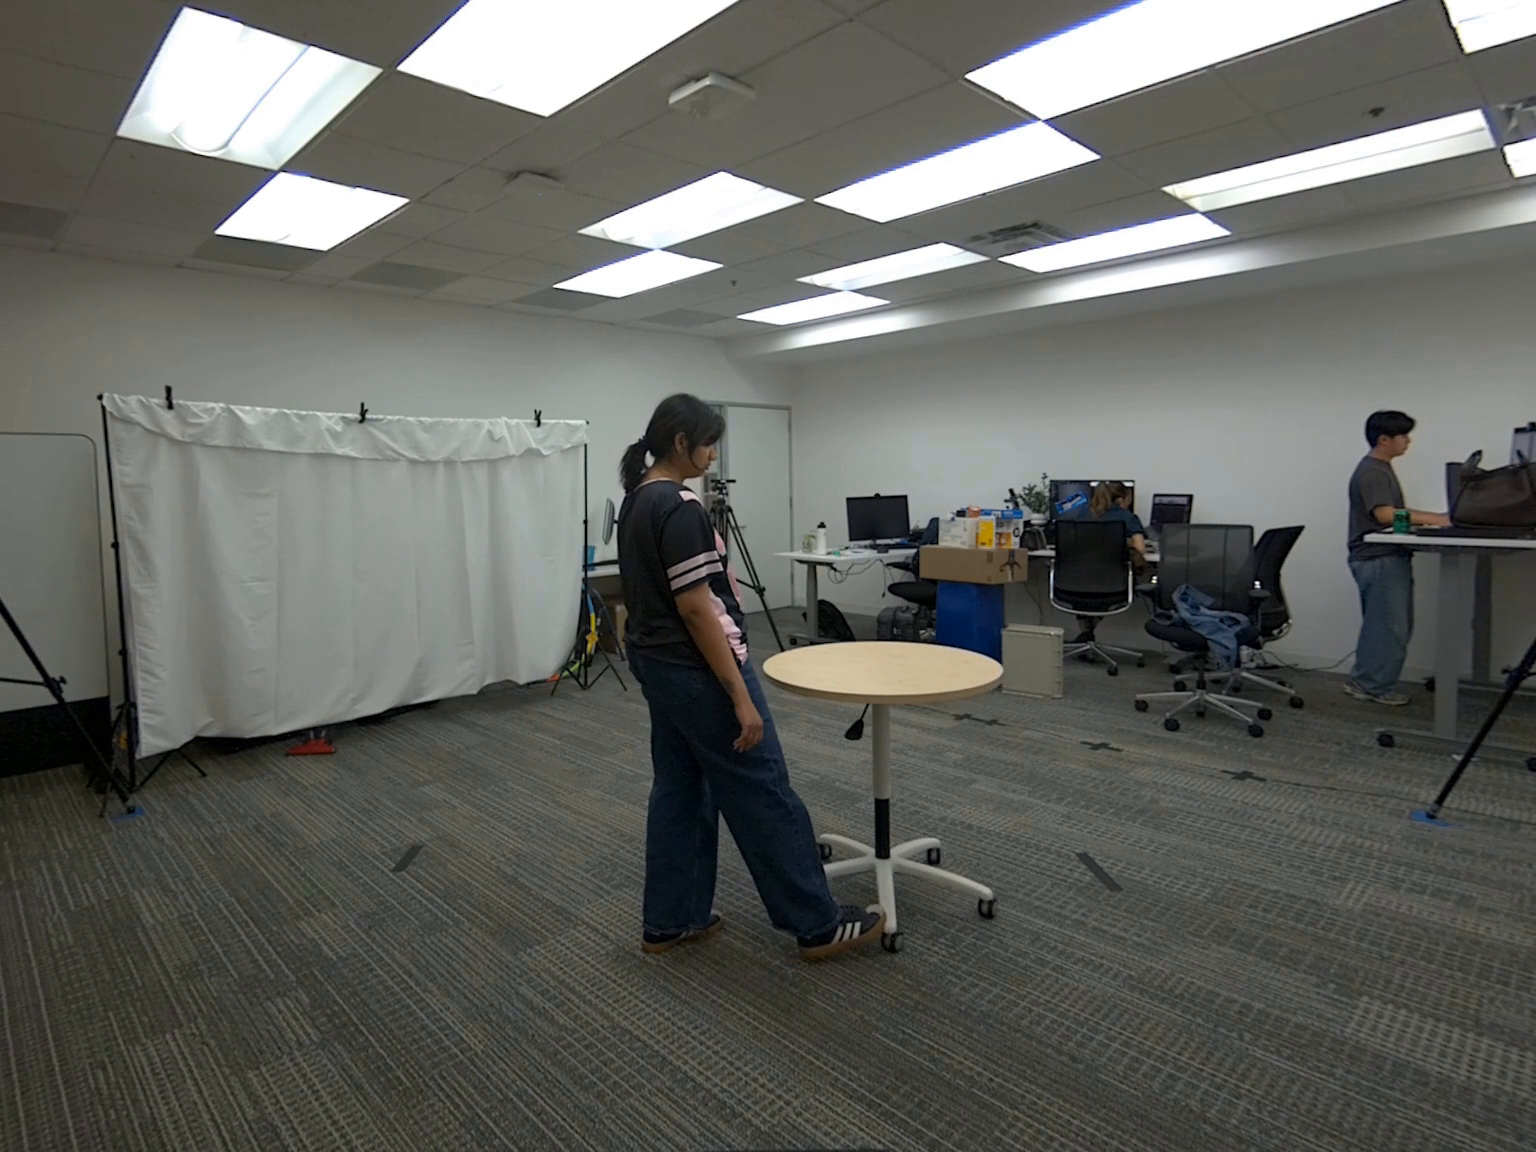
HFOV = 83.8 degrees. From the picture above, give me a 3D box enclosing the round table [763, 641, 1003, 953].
[{"bbox_3d":[0.386,0.685,2.824,0.763,0.790,0.768,-1,5,-2],"label":"round table"}]
